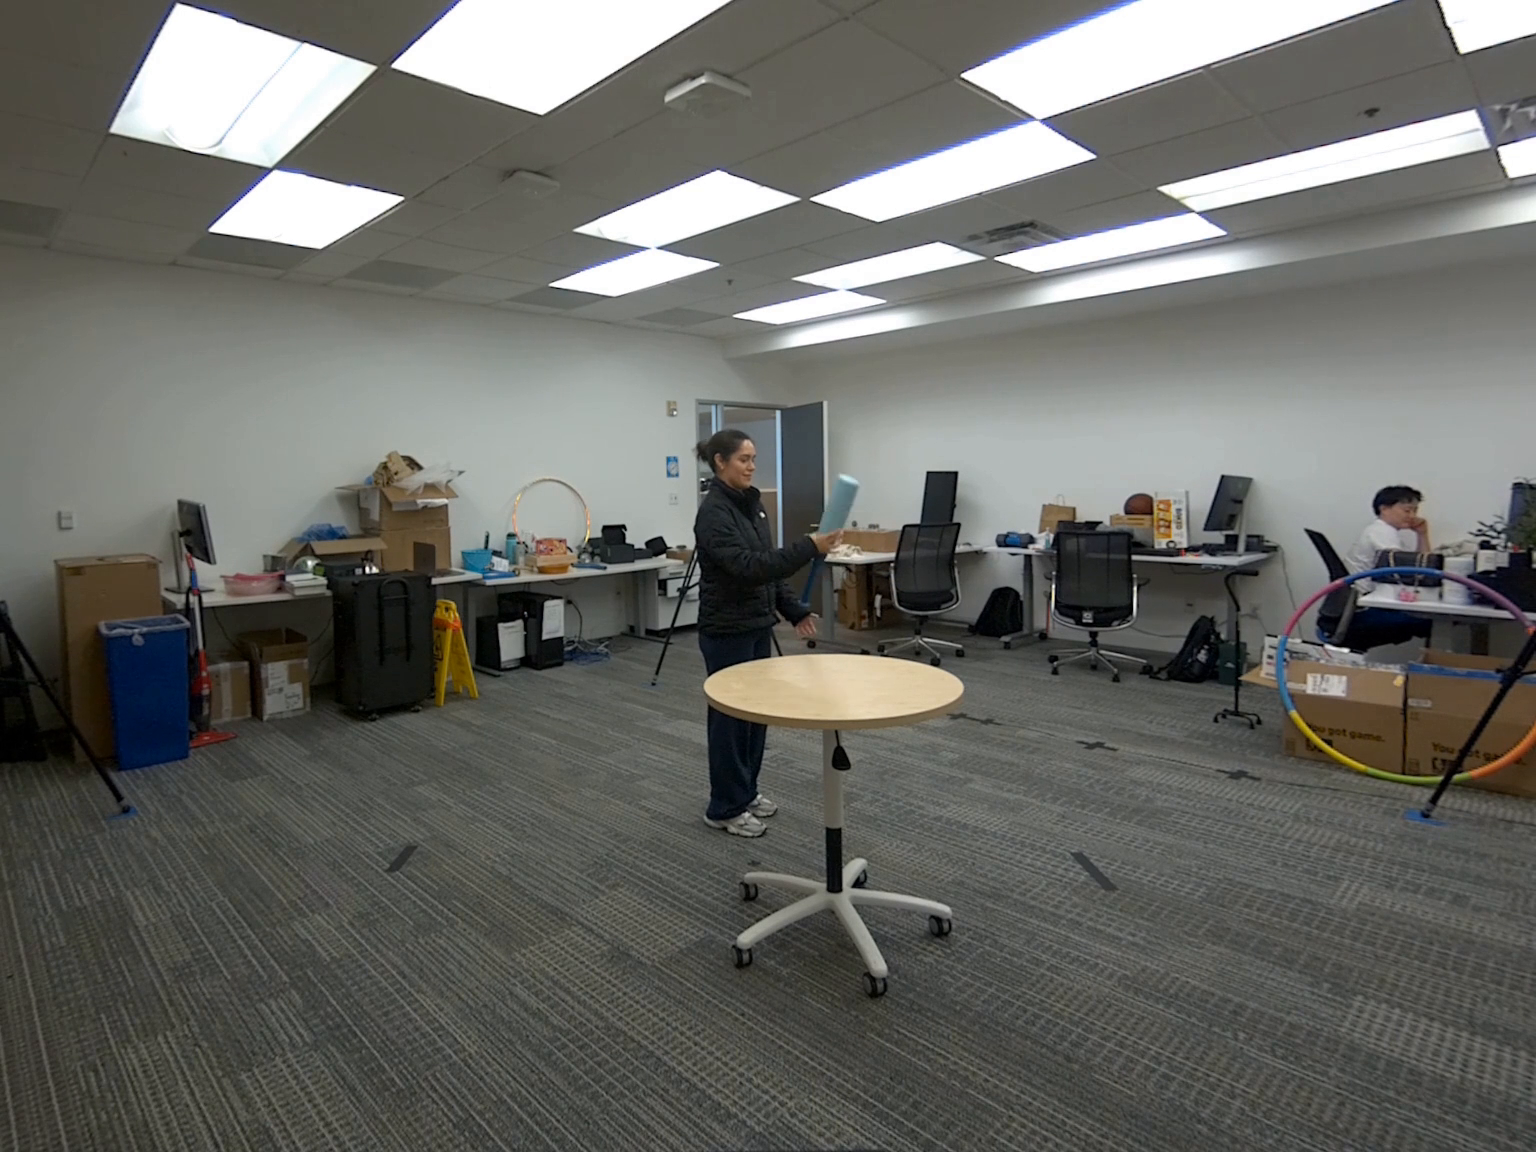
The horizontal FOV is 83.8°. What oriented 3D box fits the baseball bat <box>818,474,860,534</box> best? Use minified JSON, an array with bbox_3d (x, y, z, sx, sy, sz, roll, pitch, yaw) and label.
[{"bbox_3d":[0.195,-0.119,3.184,0.088,0.537,0.091,15,21,-8],"label":"baseball bat"}]
